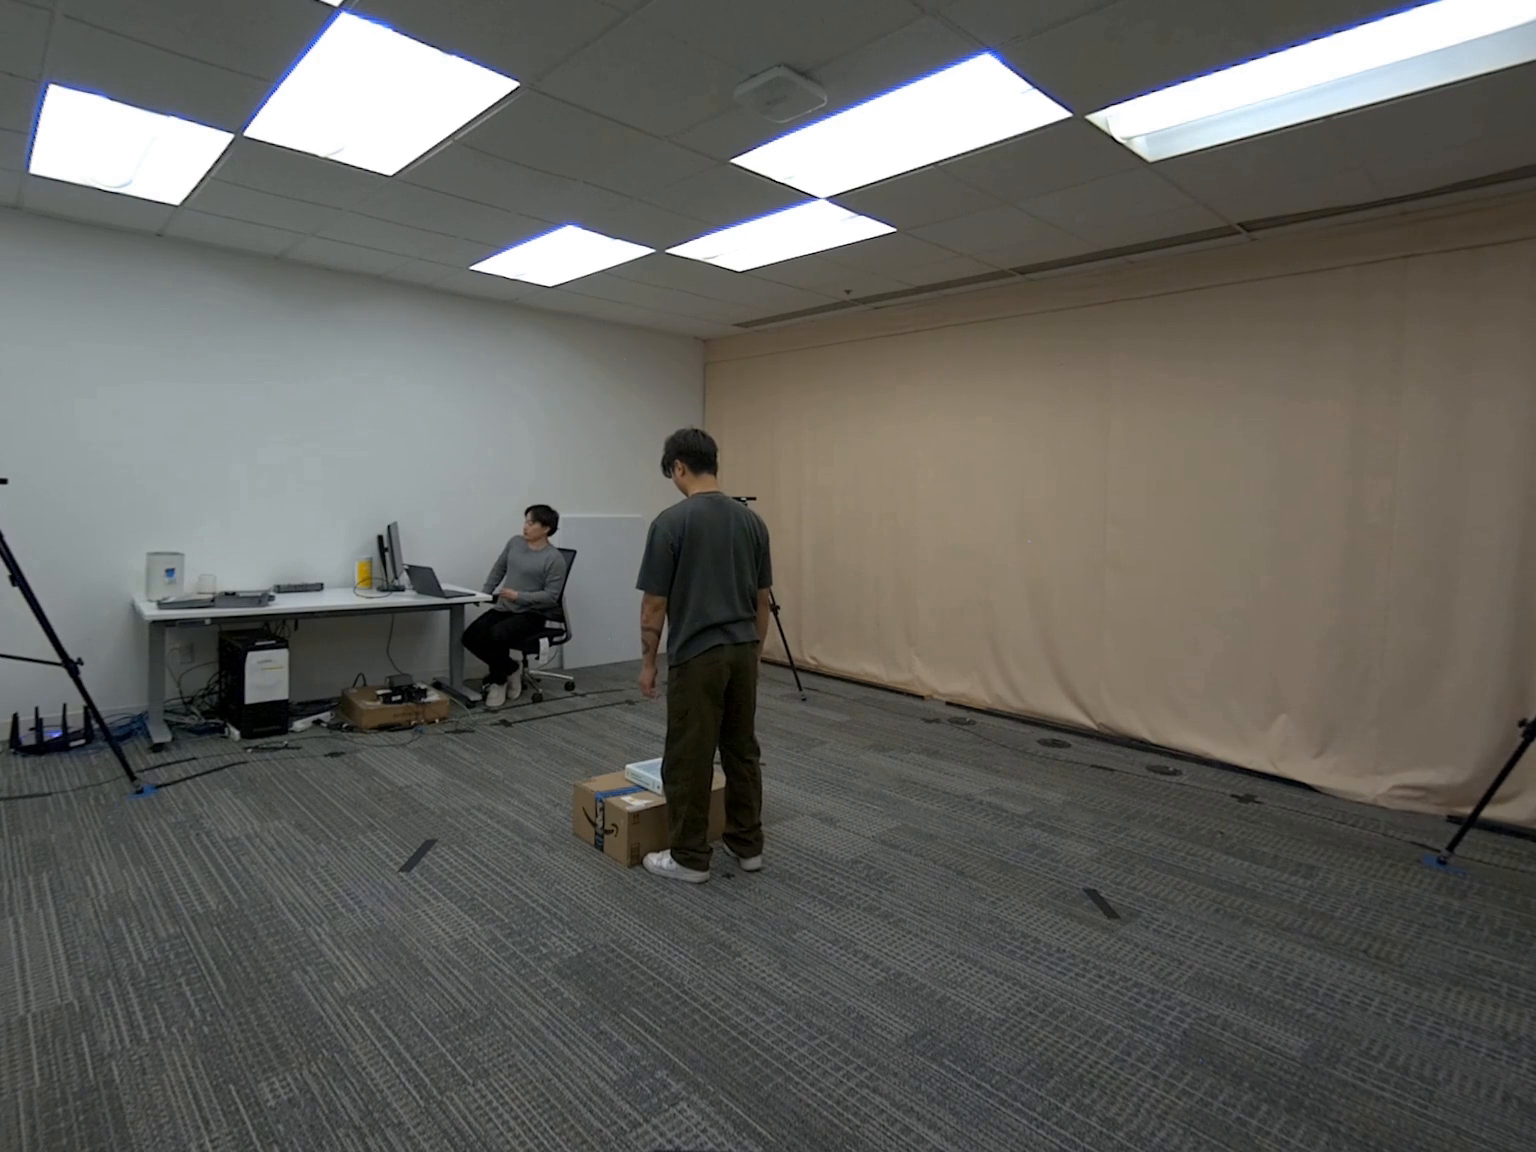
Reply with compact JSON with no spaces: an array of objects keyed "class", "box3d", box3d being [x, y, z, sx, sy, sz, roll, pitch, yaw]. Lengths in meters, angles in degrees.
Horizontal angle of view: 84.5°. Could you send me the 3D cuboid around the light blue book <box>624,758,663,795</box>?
[{"class":"light blue book","box3d":[-0.448,0.829,3.490,0.187,0.059,0.268,-2,6,-43]}]
